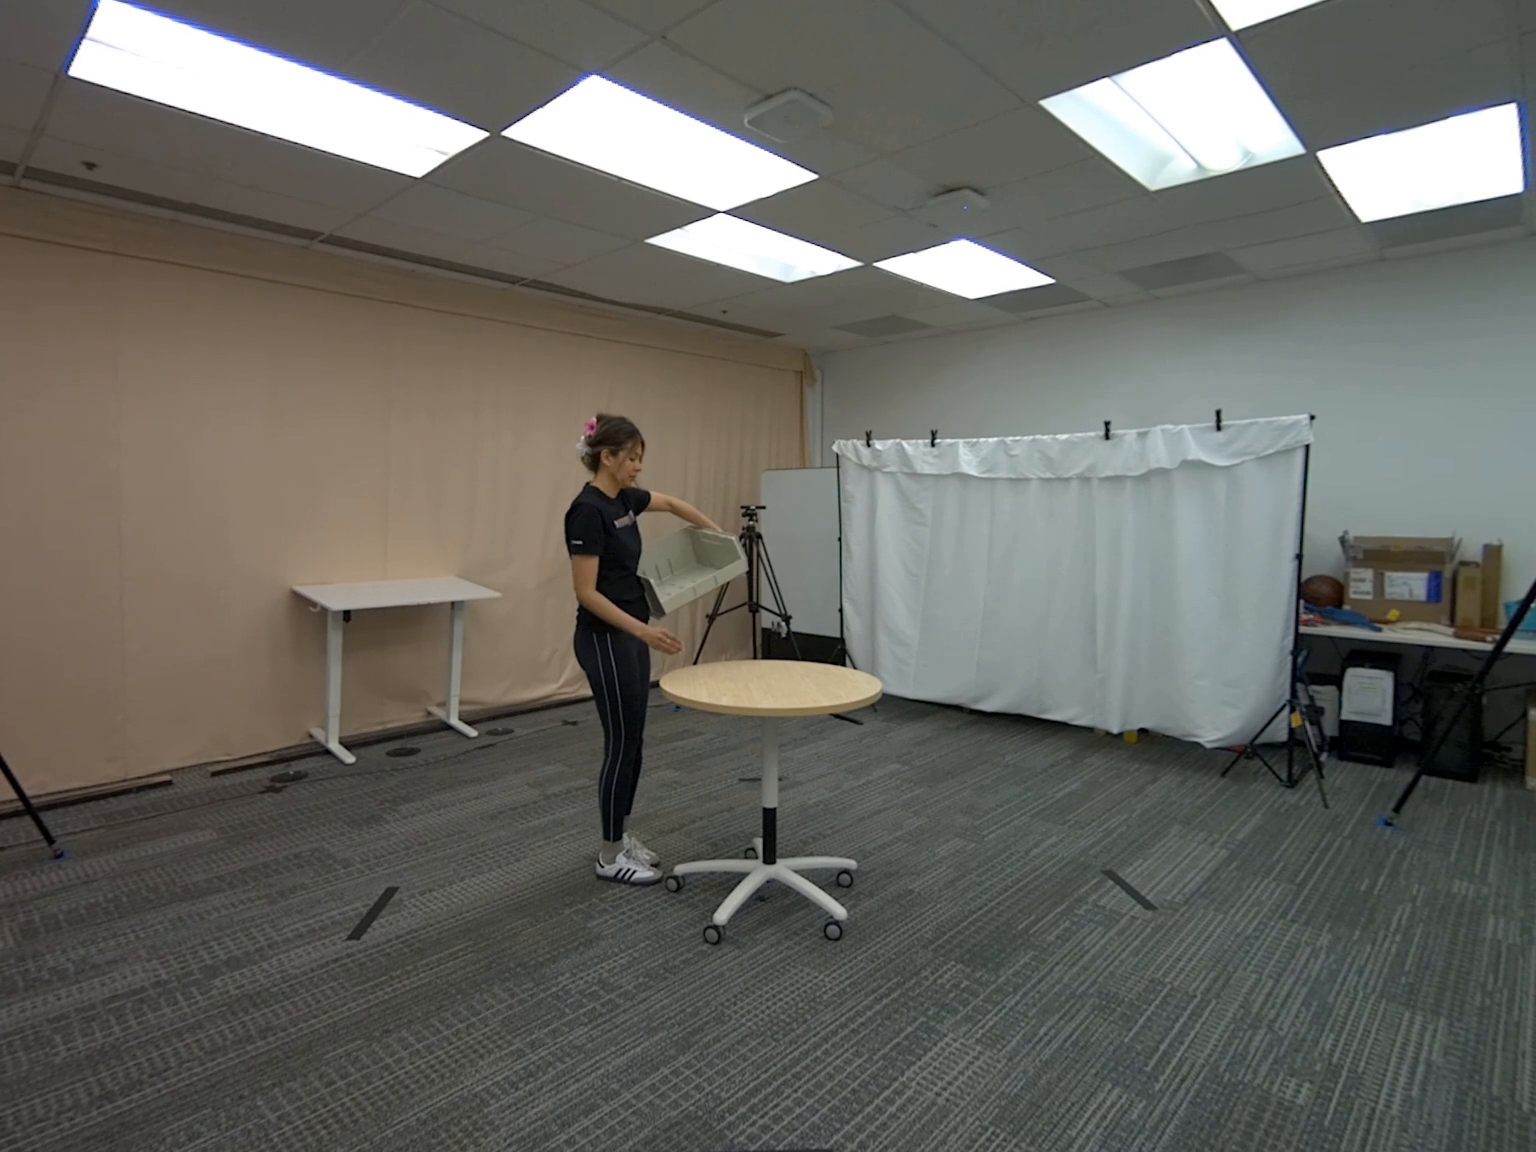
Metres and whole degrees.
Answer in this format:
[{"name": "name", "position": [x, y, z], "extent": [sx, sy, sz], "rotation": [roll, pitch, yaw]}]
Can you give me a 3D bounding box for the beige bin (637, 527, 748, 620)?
[{"name": "beige bin", "position": [-0.358, -0.019, 3.349], "extent": [0.415, 0.186, 0.390], "rotation": [-28, 25, -30]}]
